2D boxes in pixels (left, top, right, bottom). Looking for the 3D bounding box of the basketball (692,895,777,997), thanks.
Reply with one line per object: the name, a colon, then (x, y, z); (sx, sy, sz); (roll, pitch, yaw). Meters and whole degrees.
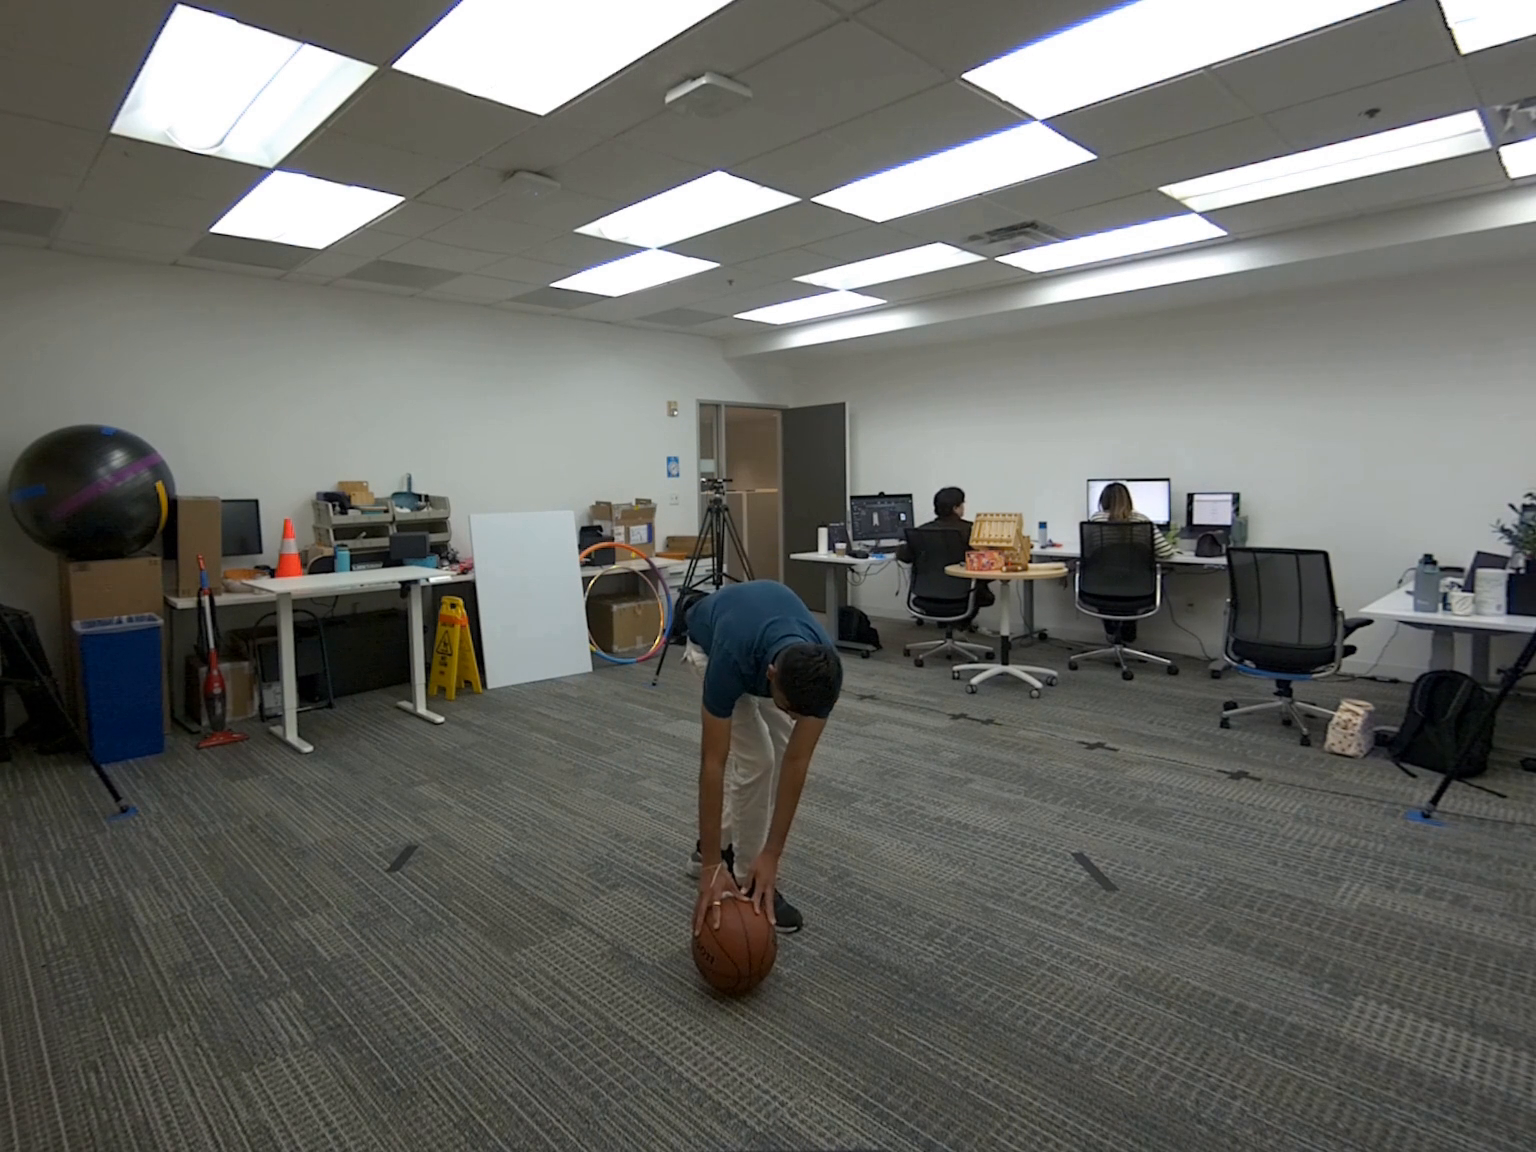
basketball: (-0.091, 1.006, 2.365); (0.236, 0.235, 0.237); (-1, 5, -2)
